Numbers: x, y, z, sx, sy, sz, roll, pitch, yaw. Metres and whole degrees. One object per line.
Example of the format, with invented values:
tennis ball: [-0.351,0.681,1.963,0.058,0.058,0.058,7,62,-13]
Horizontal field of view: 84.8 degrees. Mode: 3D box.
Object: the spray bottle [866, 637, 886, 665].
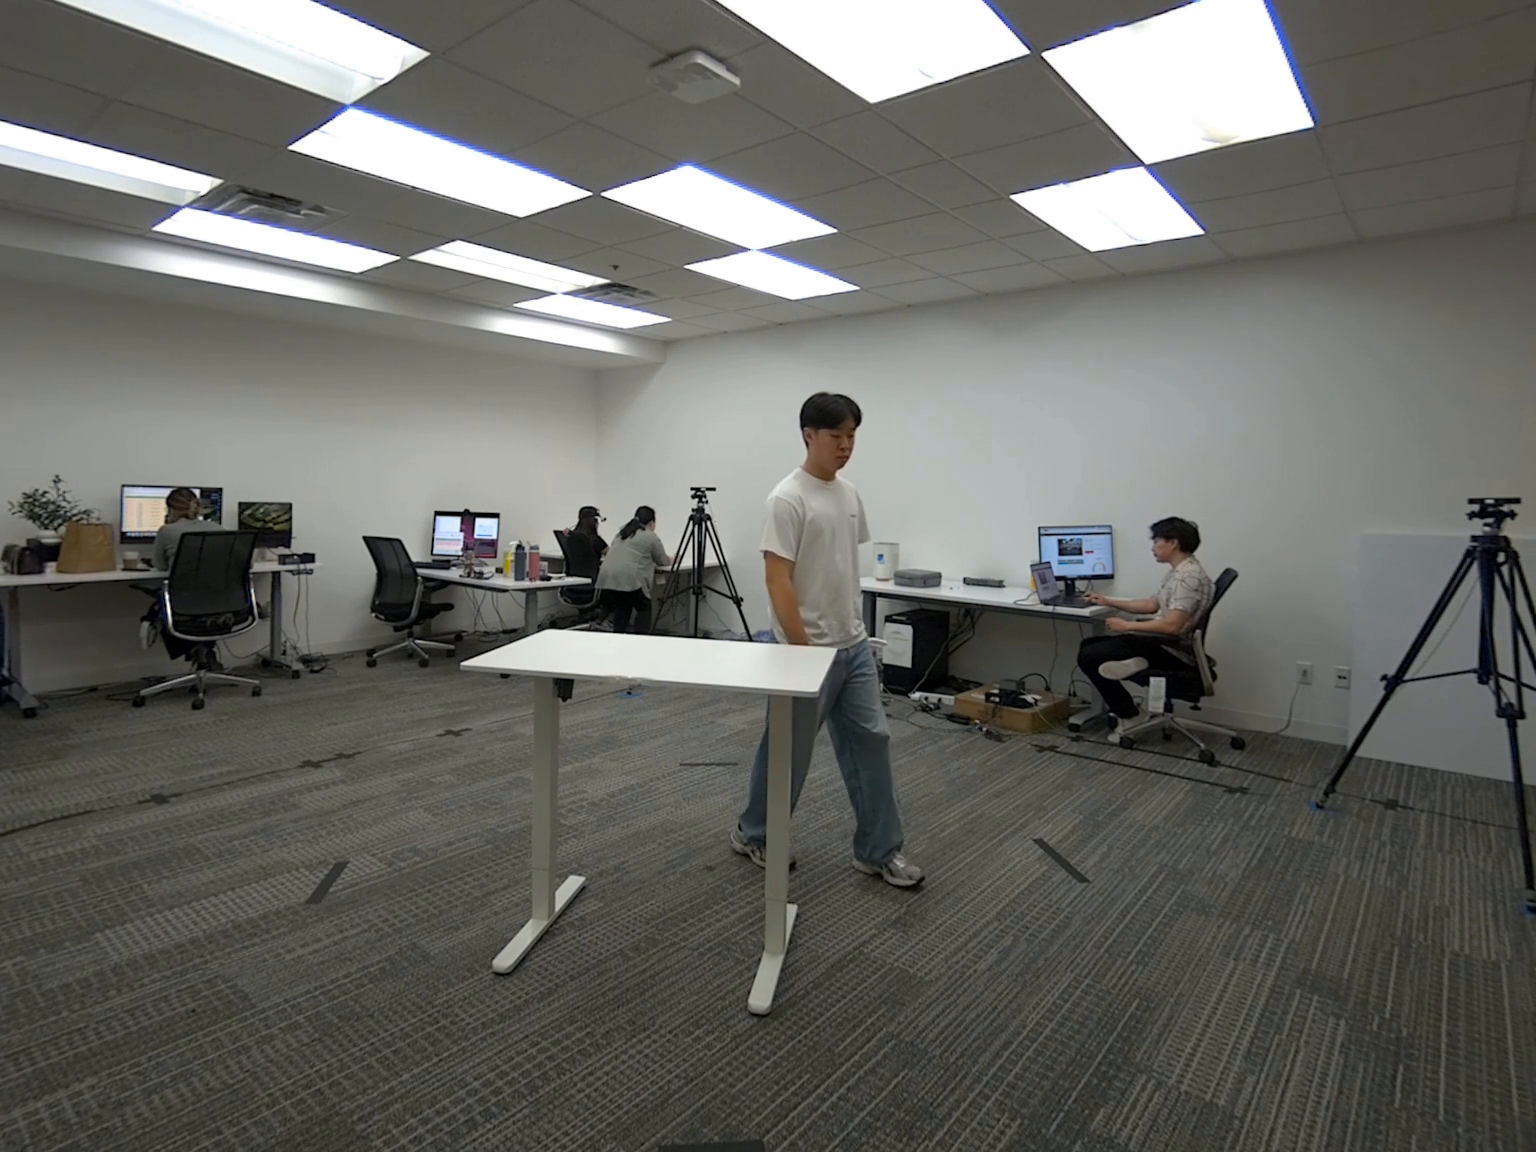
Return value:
spray bottle: [0.345,0.352,3.291,0.090,0.295,0.087,28,21,1]
